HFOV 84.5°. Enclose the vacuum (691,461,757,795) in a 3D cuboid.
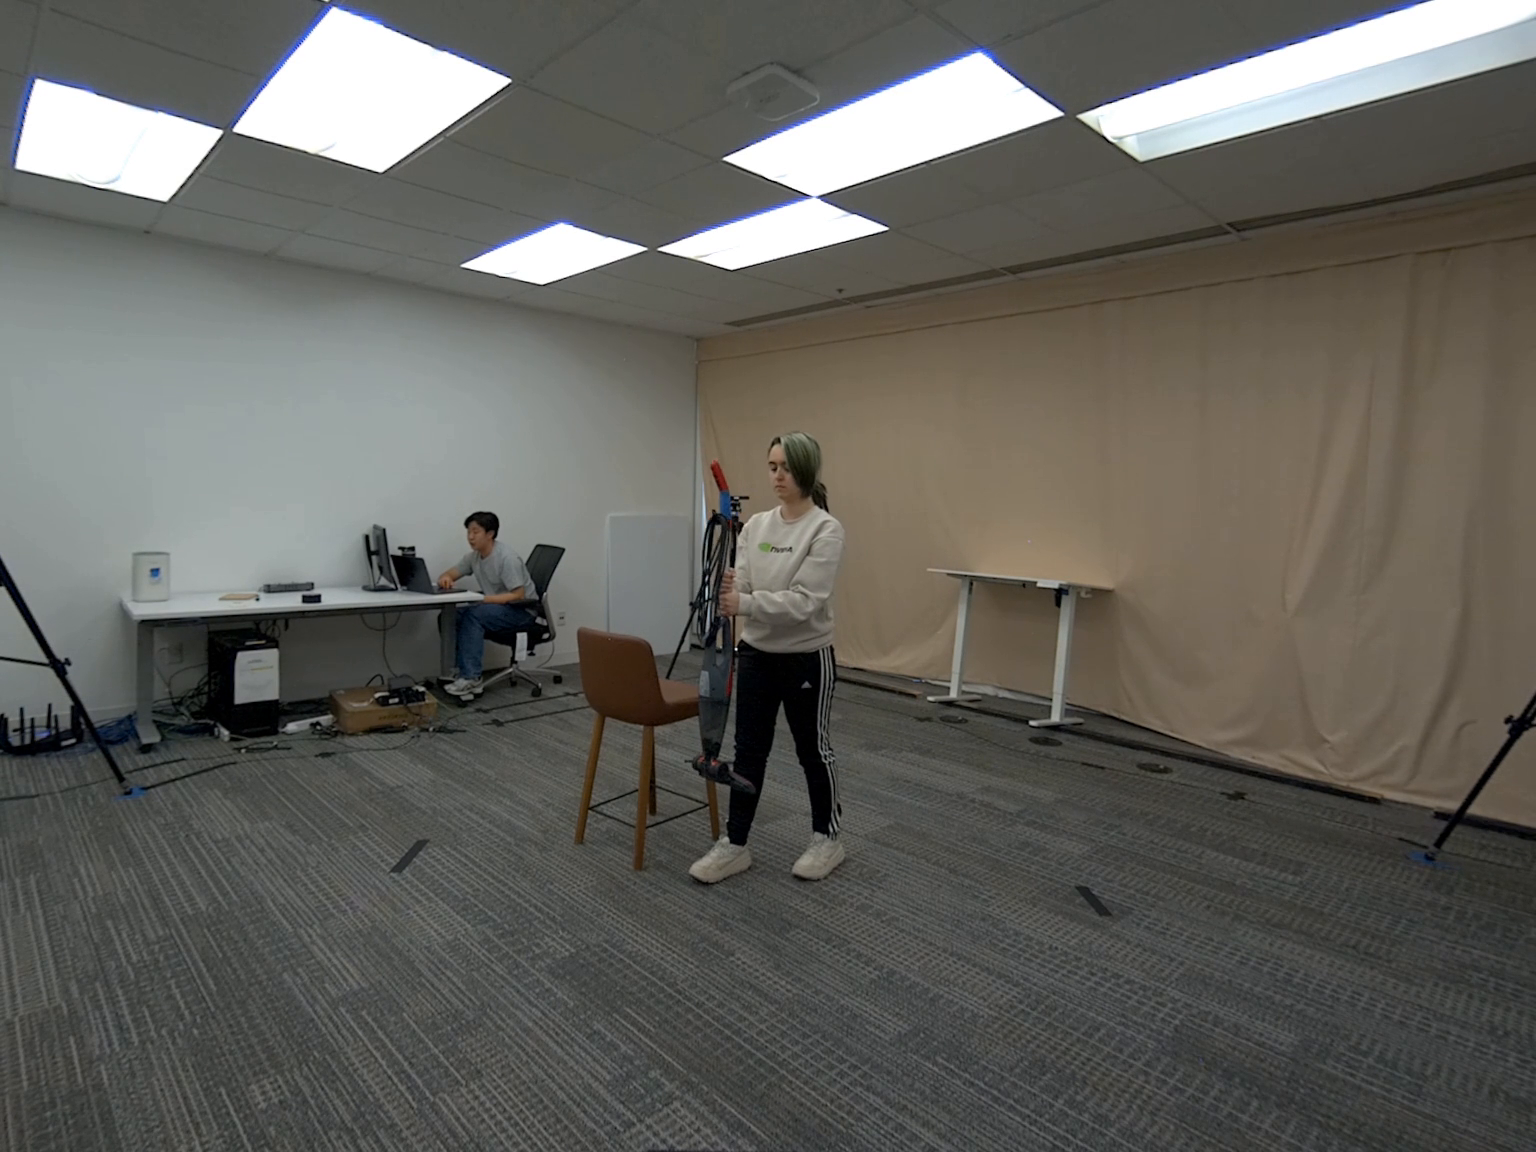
[{"bbox_3d":[-0.181,0.150,2.817,0.141,1.048,0.258,-3,2,-38],"label":"vacuum"}]
